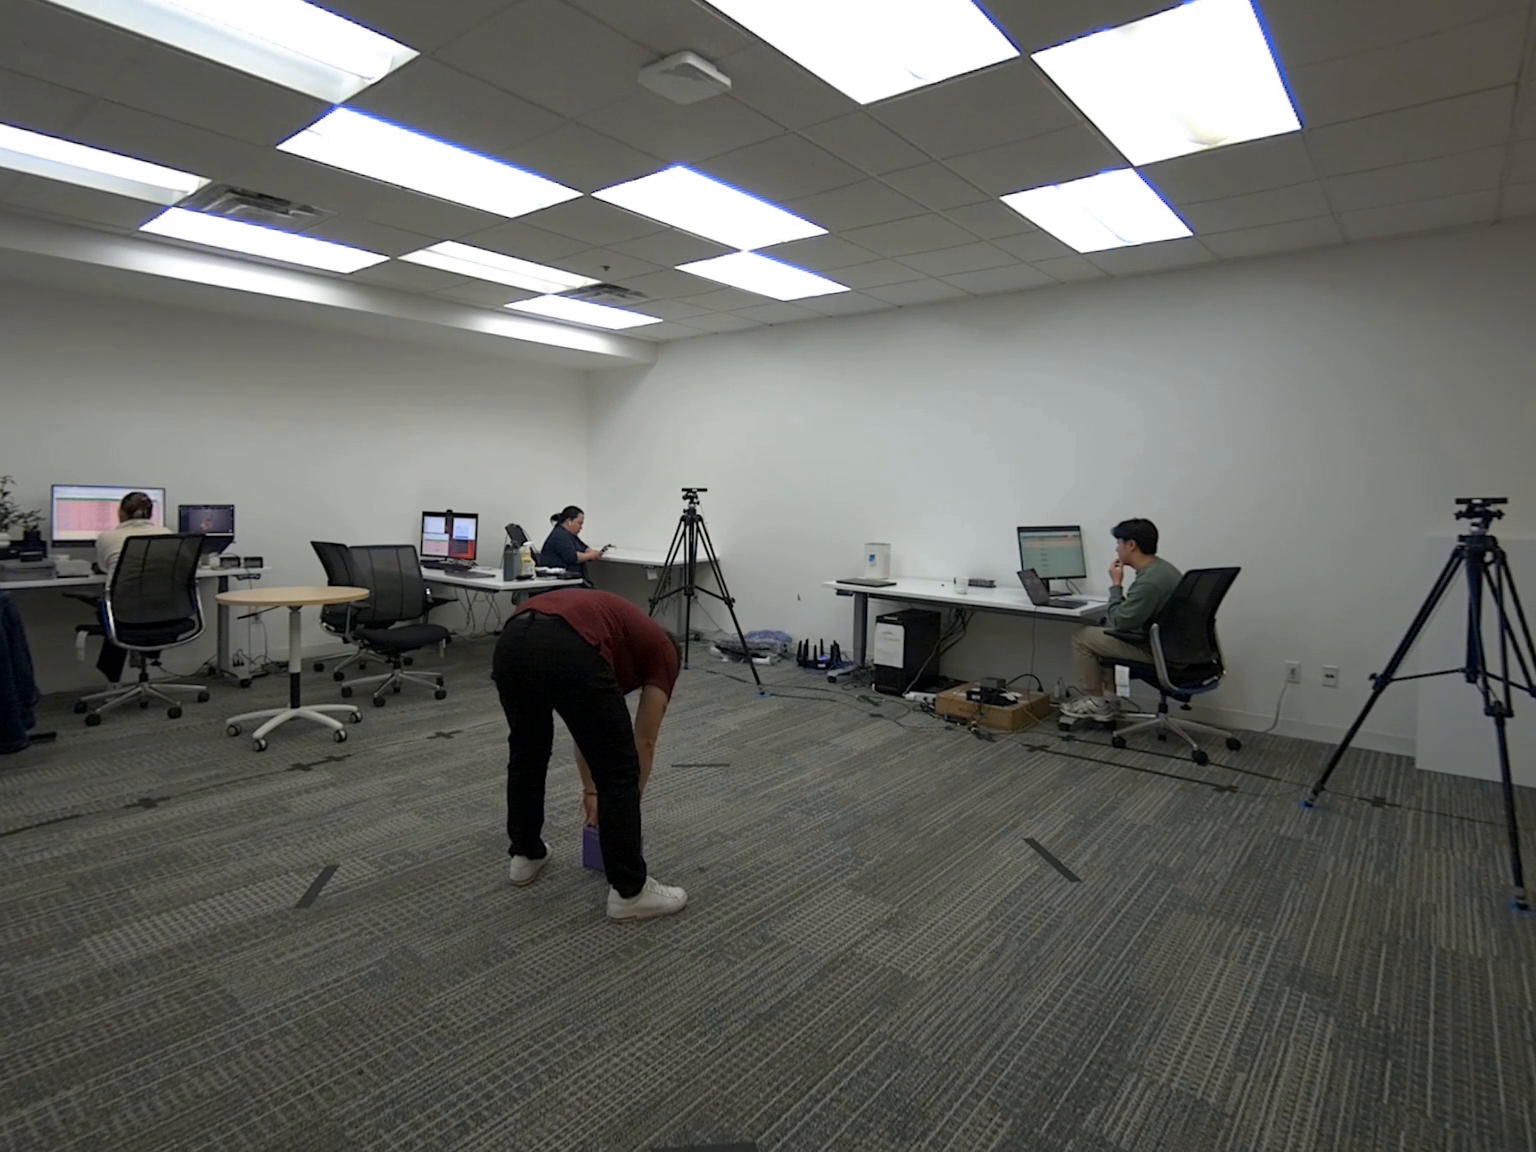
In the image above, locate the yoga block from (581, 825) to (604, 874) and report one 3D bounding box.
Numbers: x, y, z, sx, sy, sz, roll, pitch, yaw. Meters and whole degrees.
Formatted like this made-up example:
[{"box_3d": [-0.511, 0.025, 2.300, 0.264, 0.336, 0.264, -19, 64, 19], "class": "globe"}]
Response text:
[{"box_3d": [-0.575, 0.992, 3.081, 0.236, 0.148, 0.074, 3, 5, 29], "class": "yoga block"}]
